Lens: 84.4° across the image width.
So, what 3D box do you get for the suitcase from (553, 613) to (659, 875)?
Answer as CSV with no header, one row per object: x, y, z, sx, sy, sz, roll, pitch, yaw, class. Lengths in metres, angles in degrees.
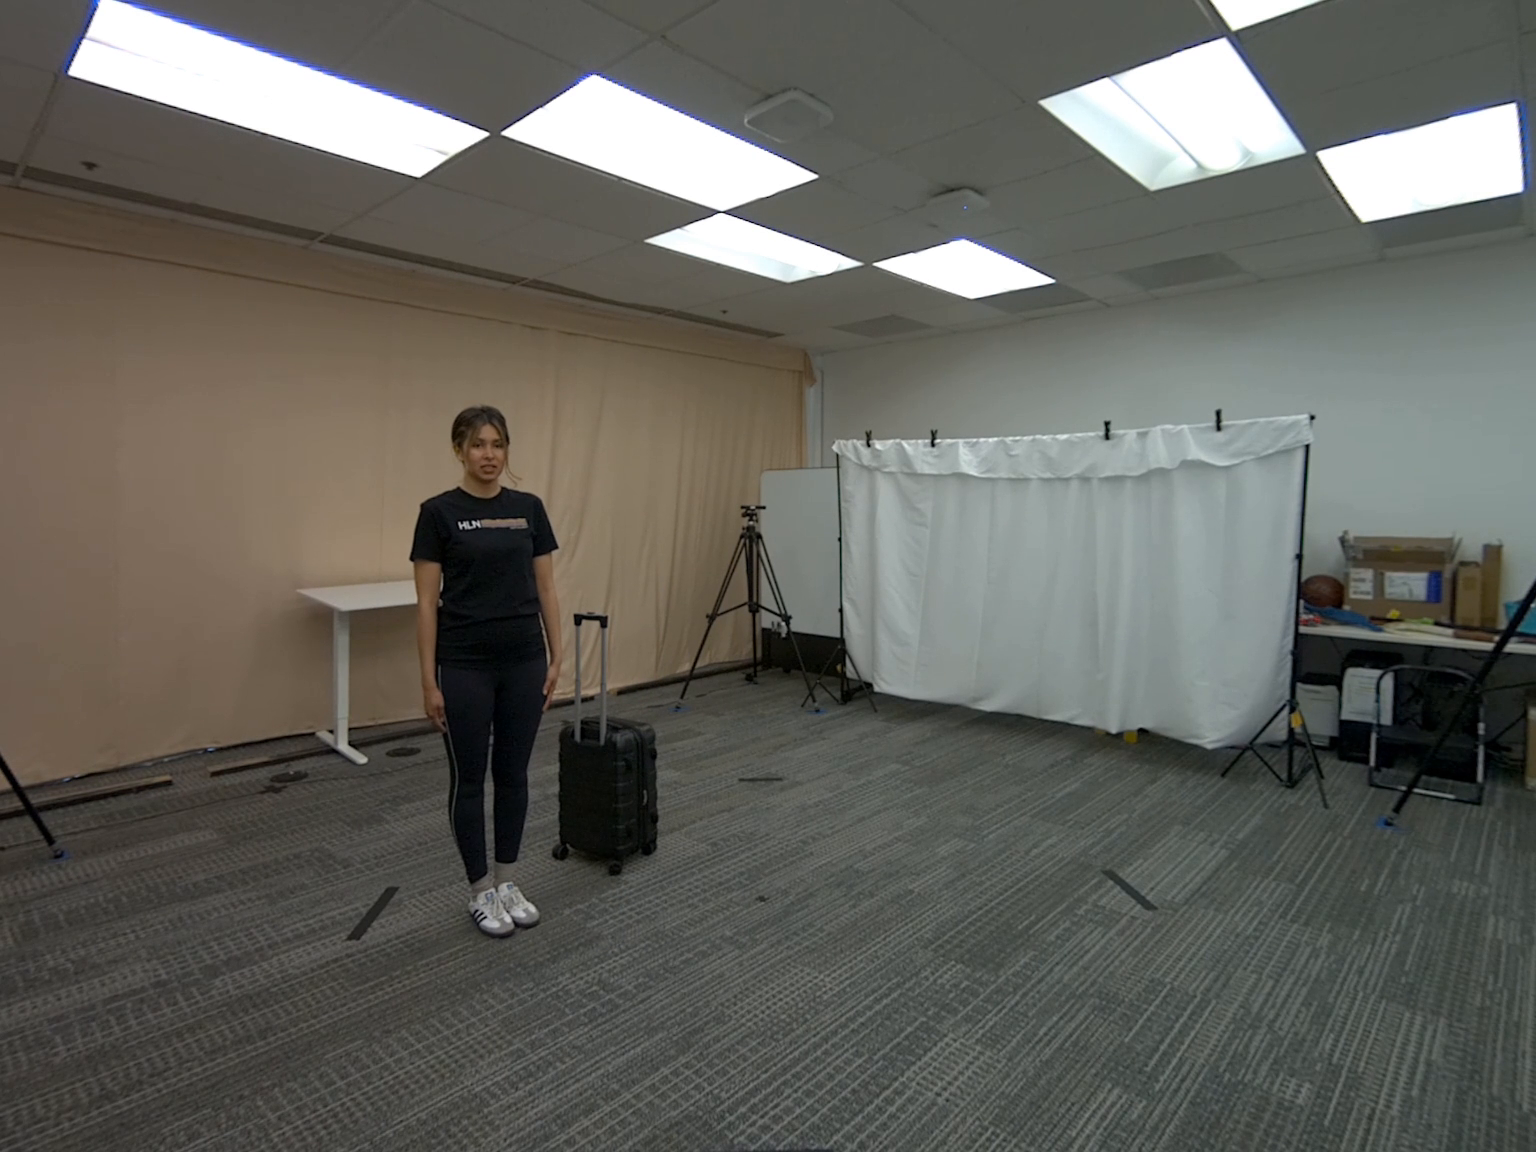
-0.642,0.639,3.354,0.395,0.978,0.250,1,1,30,suitcase
